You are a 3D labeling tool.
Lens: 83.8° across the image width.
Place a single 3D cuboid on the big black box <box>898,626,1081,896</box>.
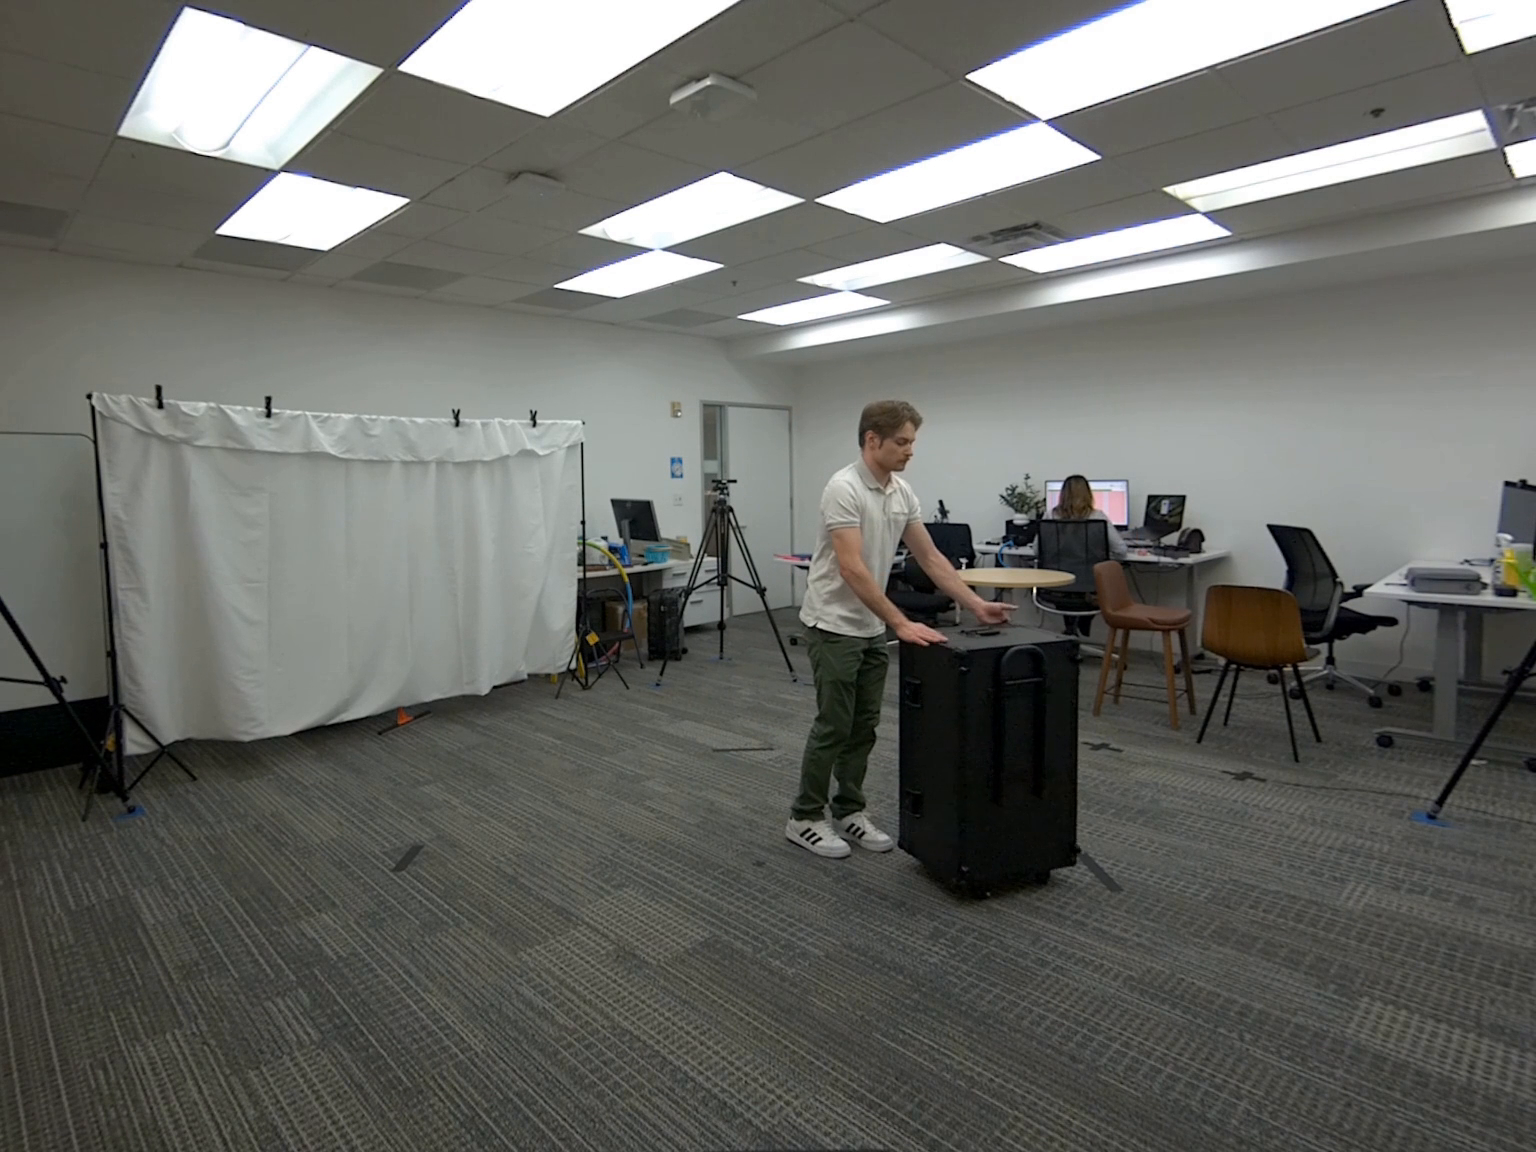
[{"bbox_3d":[0.763,0.626,2.955,0.513,0.865,0.394,-3,4,-22],"label":"big black box"}]
